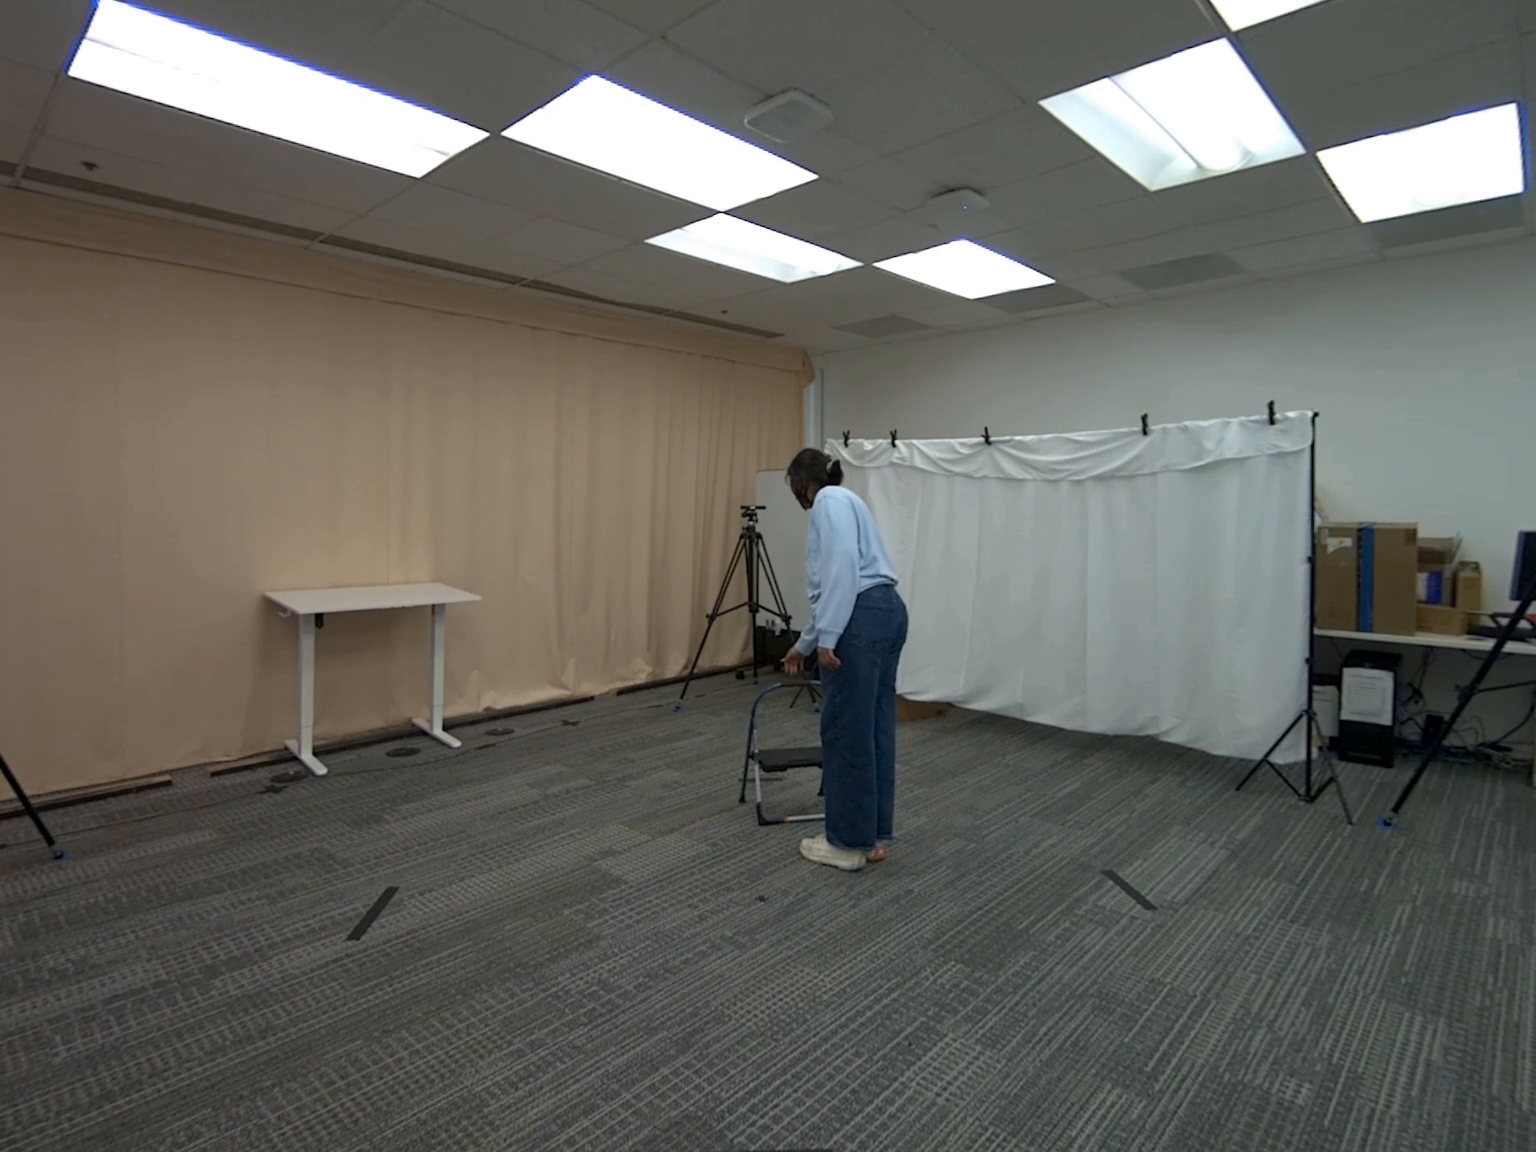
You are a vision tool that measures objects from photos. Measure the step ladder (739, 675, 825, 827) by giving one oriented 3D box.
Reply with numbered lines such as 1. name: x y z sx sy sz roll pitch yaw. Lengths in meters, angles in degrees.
1. step ladder: 0.112 0.768 3.851 0.424 0.605 0.355 -1 3 -15
